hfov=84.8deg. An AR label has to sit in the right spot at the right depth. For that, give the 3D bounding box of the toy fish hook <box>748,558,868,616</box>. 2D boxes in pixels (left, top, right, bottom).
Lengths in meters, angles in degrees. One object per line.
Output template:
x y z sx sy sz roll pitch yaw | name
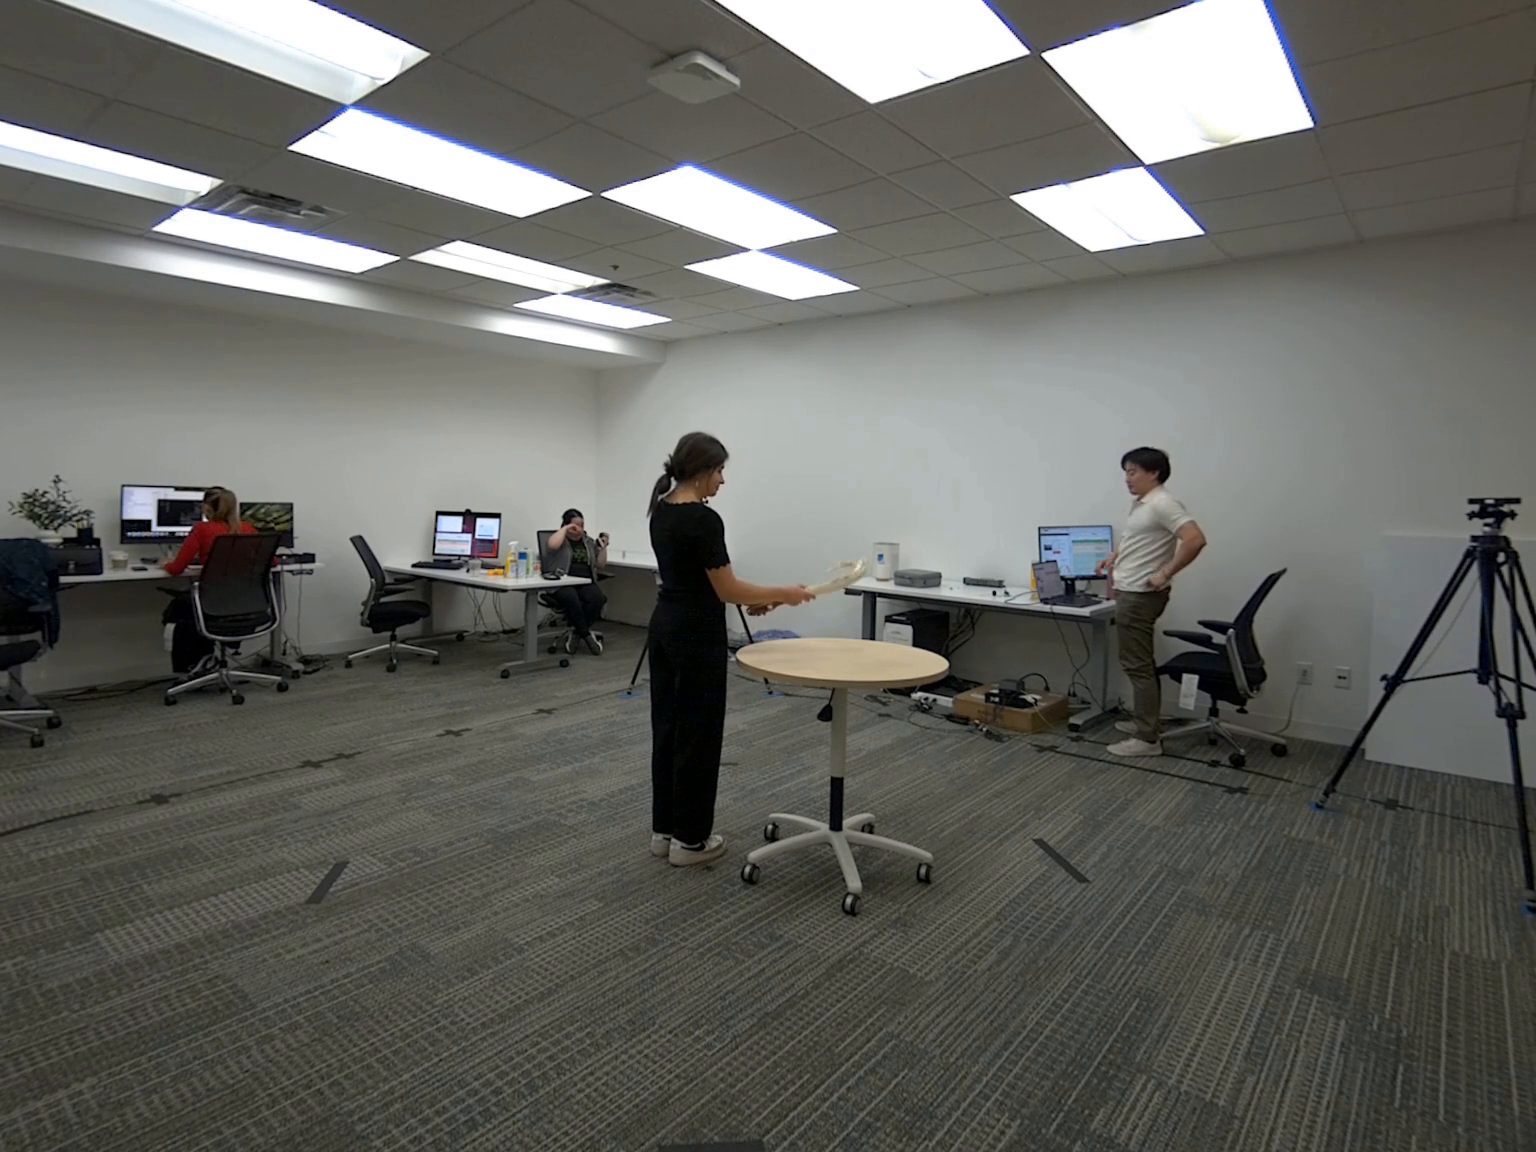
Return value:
0.133 0.041 3.279 0.514 0.047 0.225 -20 16 23 | toy fish hook
